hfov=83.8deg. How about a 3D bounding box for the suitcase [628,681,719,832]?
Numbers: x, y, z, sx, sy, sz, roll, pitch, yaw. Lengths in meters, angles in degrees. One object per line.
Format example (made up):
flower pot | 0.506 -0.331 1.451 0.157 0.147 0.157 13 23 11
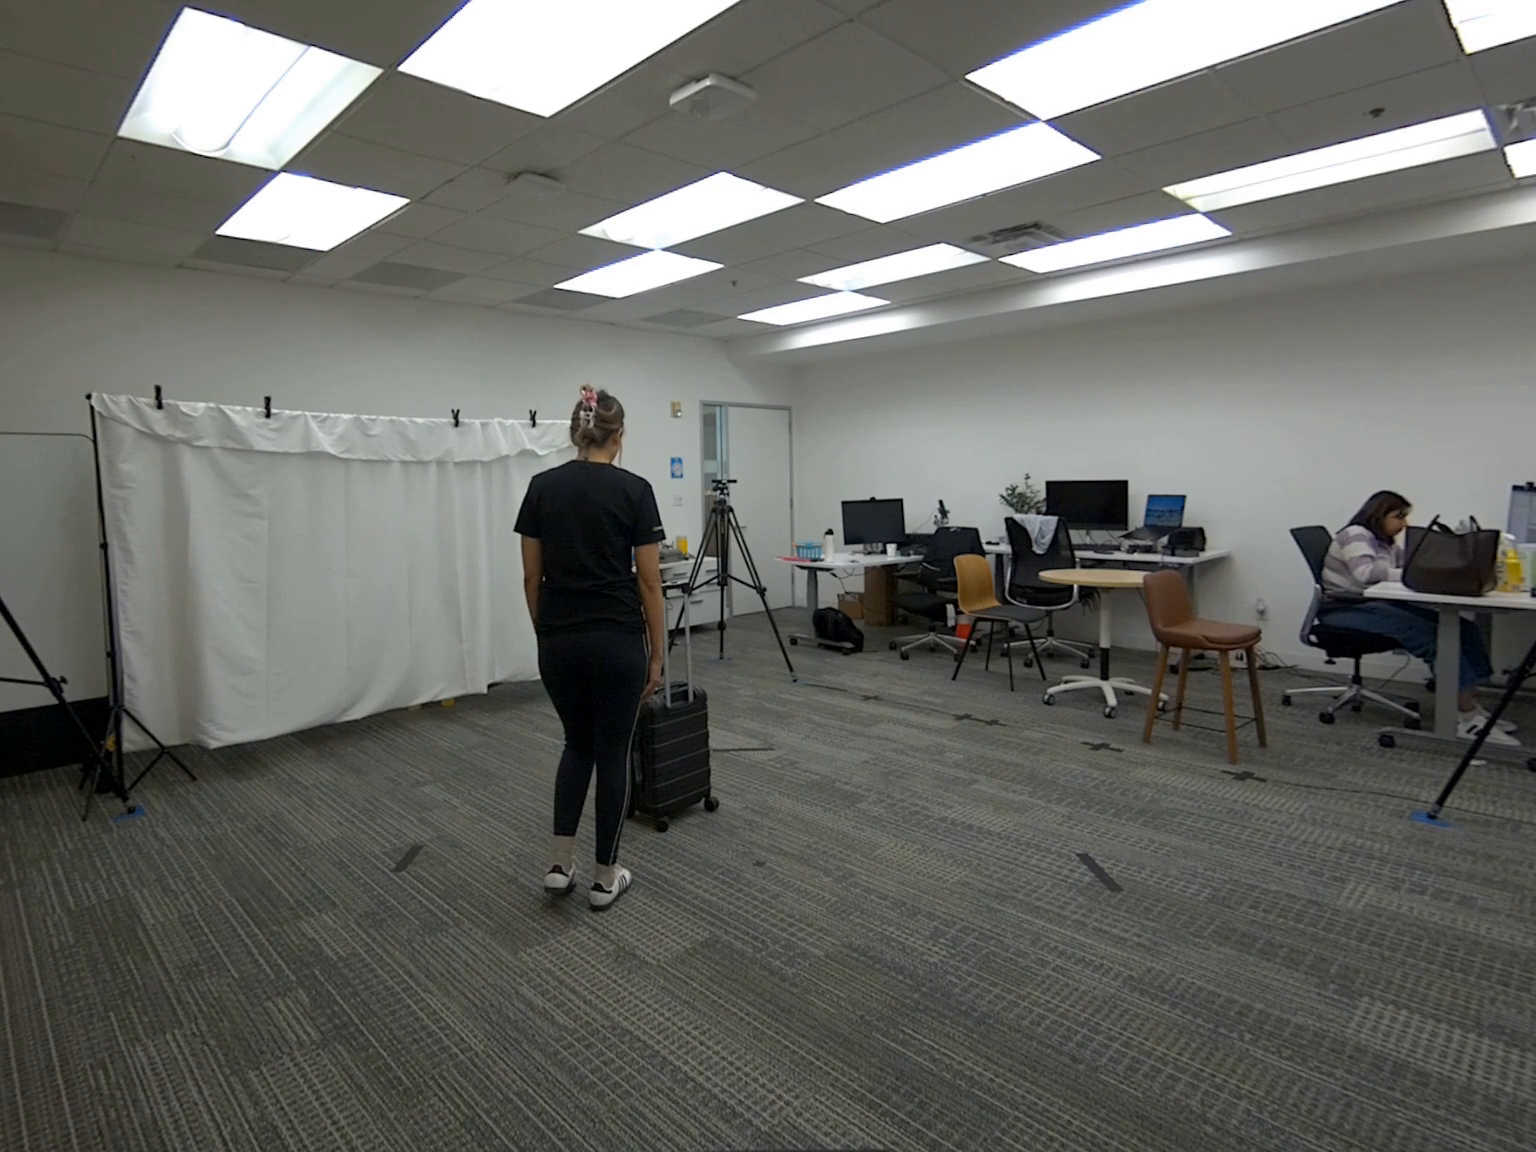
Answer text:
suitcase | -0.453 0.531 3.584 0.264 0.977 0.374 -3 3 42
